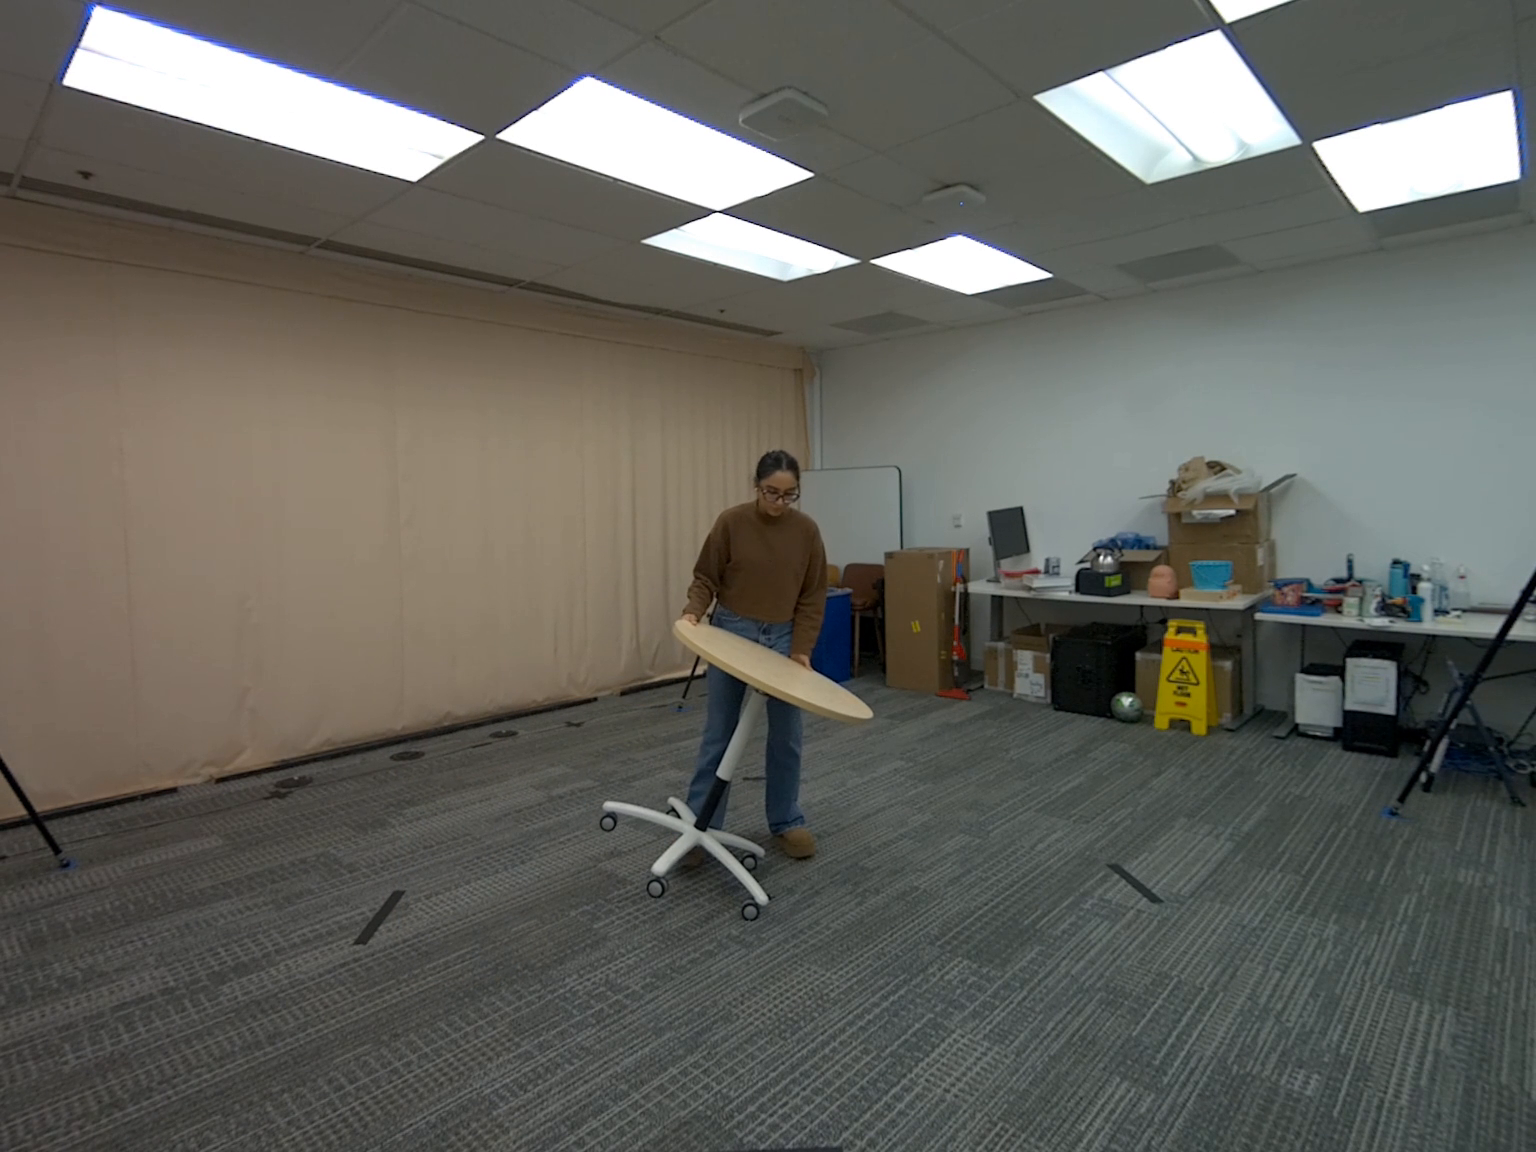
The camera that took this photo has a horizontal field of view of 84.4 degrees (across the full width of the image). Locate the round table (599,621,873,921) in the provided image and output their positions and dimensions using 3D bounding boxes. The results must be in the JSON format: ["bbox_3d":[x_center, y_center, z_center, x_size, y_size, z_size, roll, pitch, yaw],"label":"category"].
[{"bbox_3d":[-0.145,0.680,3.011,0.762,0.793,0.767,24,3,-4],"label":"round table"}]
